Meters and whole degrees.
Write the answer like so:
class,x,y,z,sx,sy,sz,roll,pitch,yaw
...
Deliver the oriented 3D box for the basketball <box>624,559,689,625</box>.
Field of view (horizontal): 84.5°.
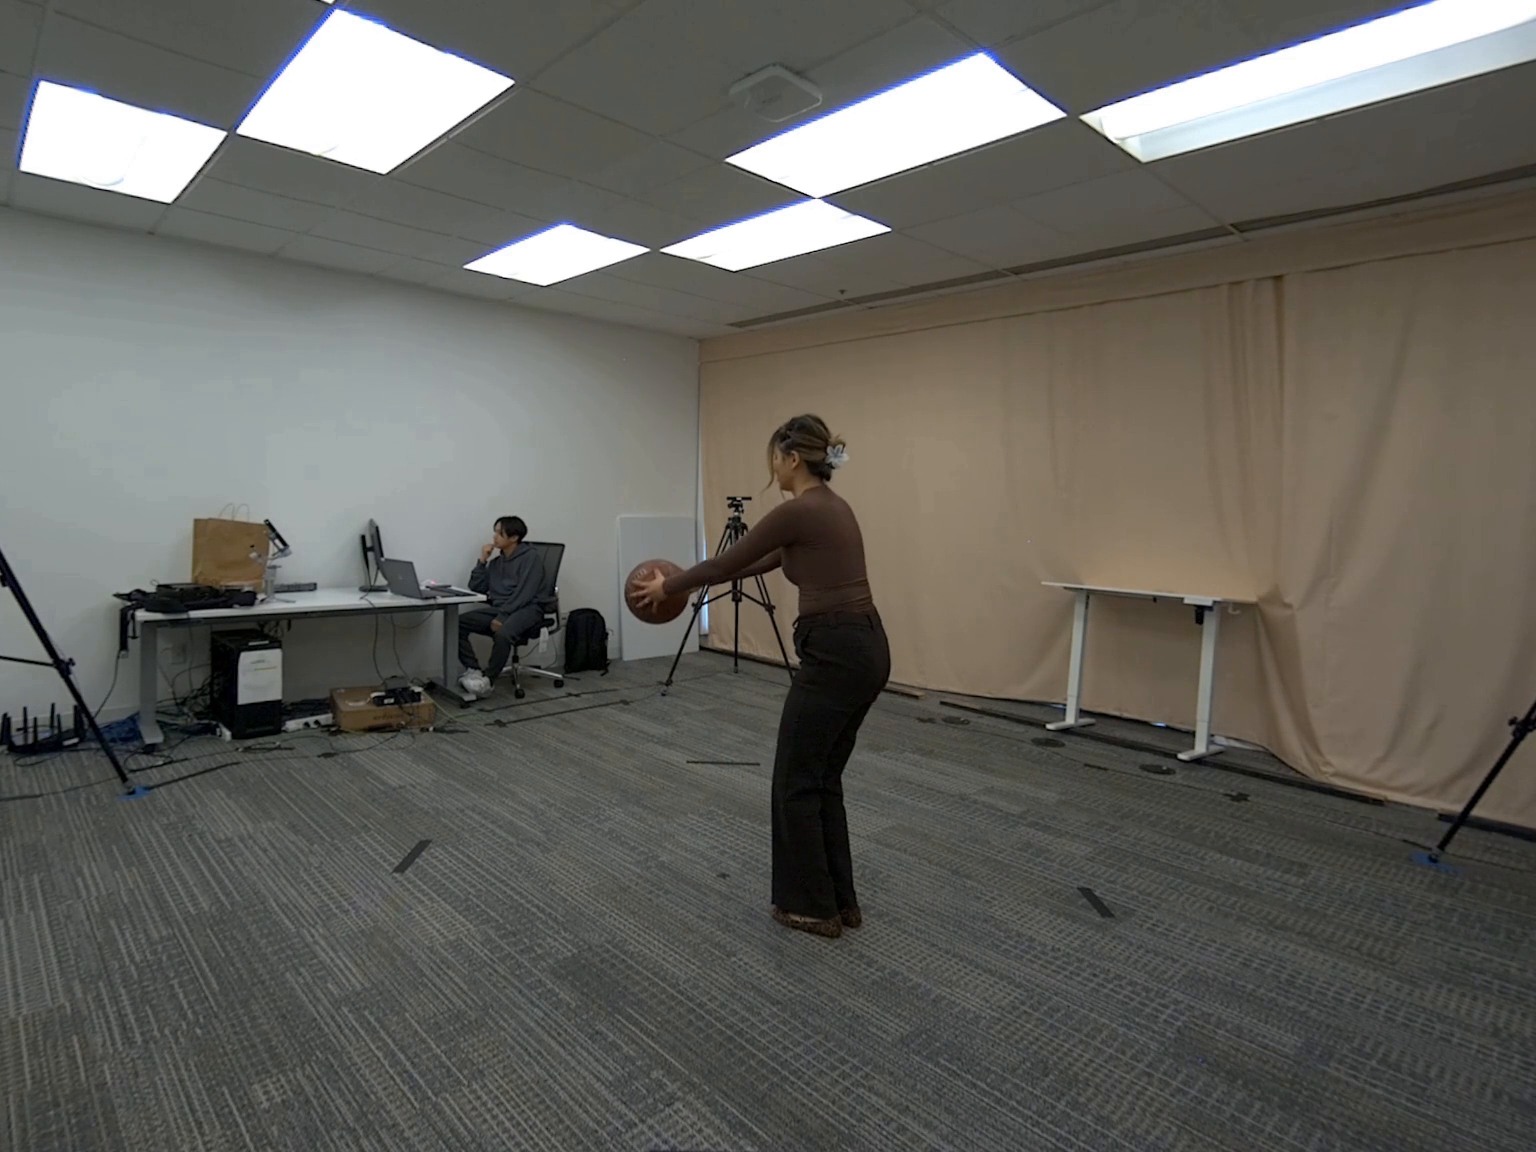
class,x,y,z,sx,sy,sz,roll,pitch,yaw
basketball,-0.407,0.060,3.065,0.236,0.235,0.237,1,4,-1
